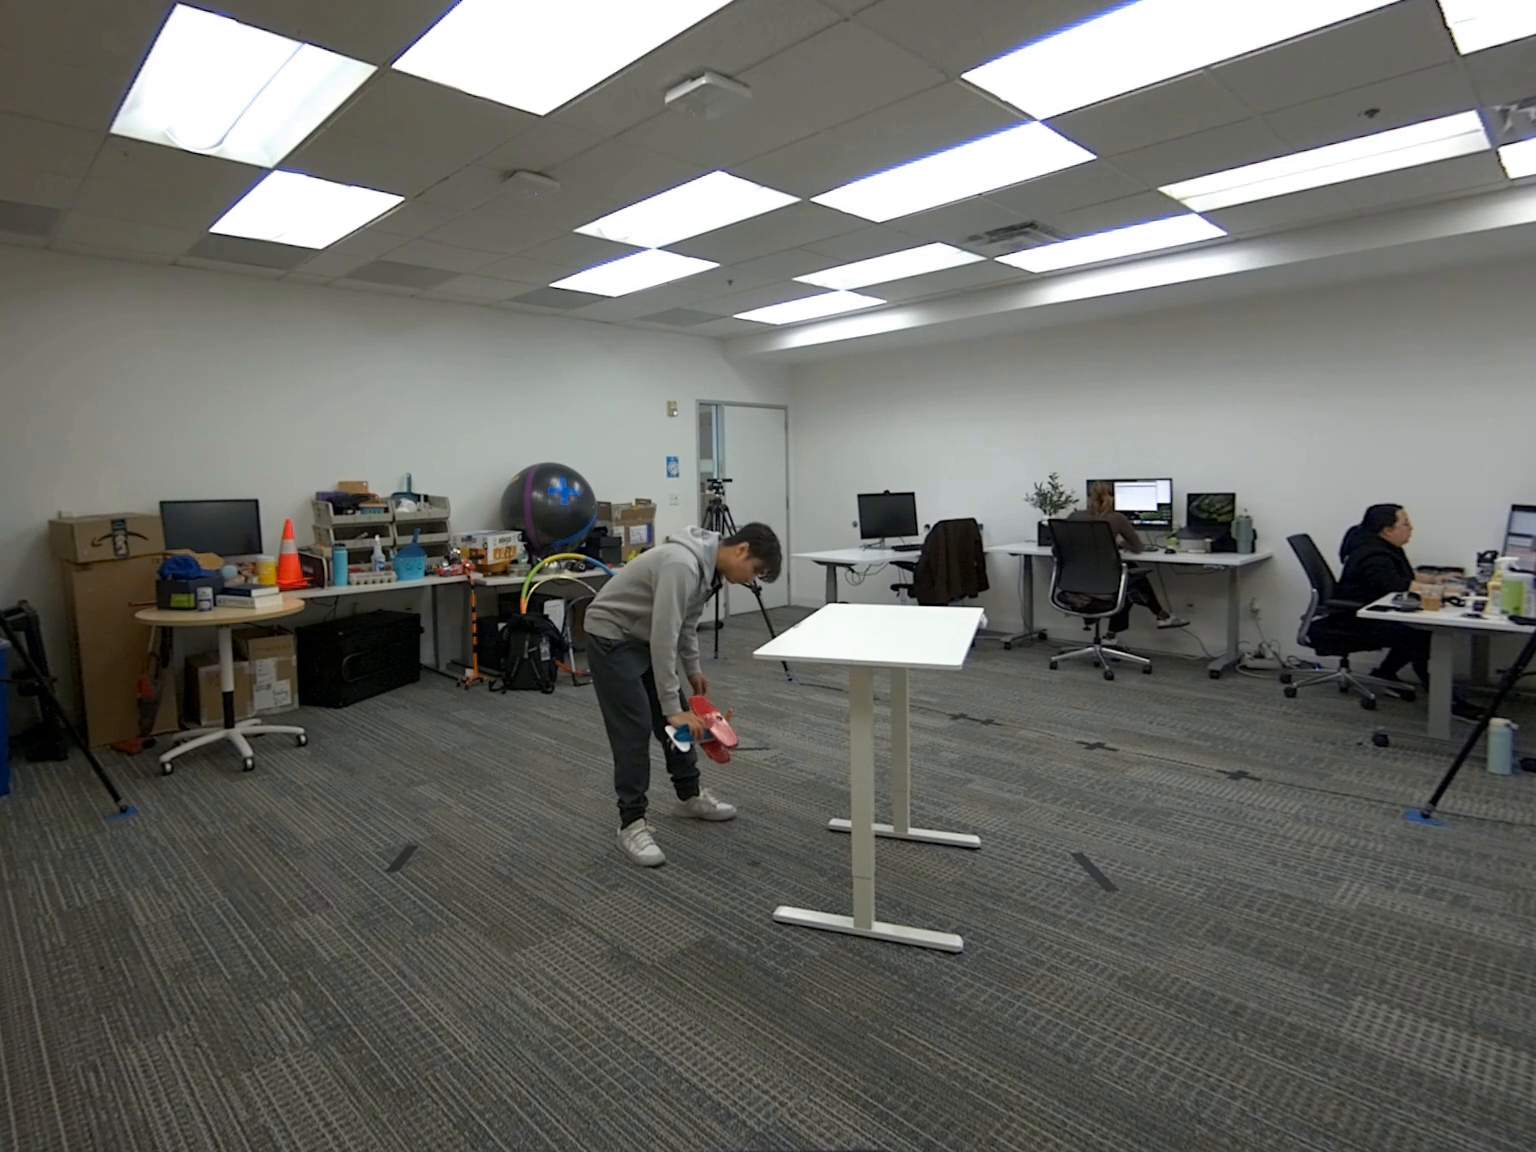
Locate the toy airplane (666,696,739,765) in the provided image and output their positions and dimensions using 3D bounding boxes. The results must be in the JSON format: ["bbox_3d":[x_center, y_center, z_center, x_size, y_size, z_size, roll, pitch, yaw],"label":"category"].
[{"bbox_3d":[-0.227,0.576,3.057,0.253,0.156,0.258,35,15,5],"label":"toy airplane"}]
